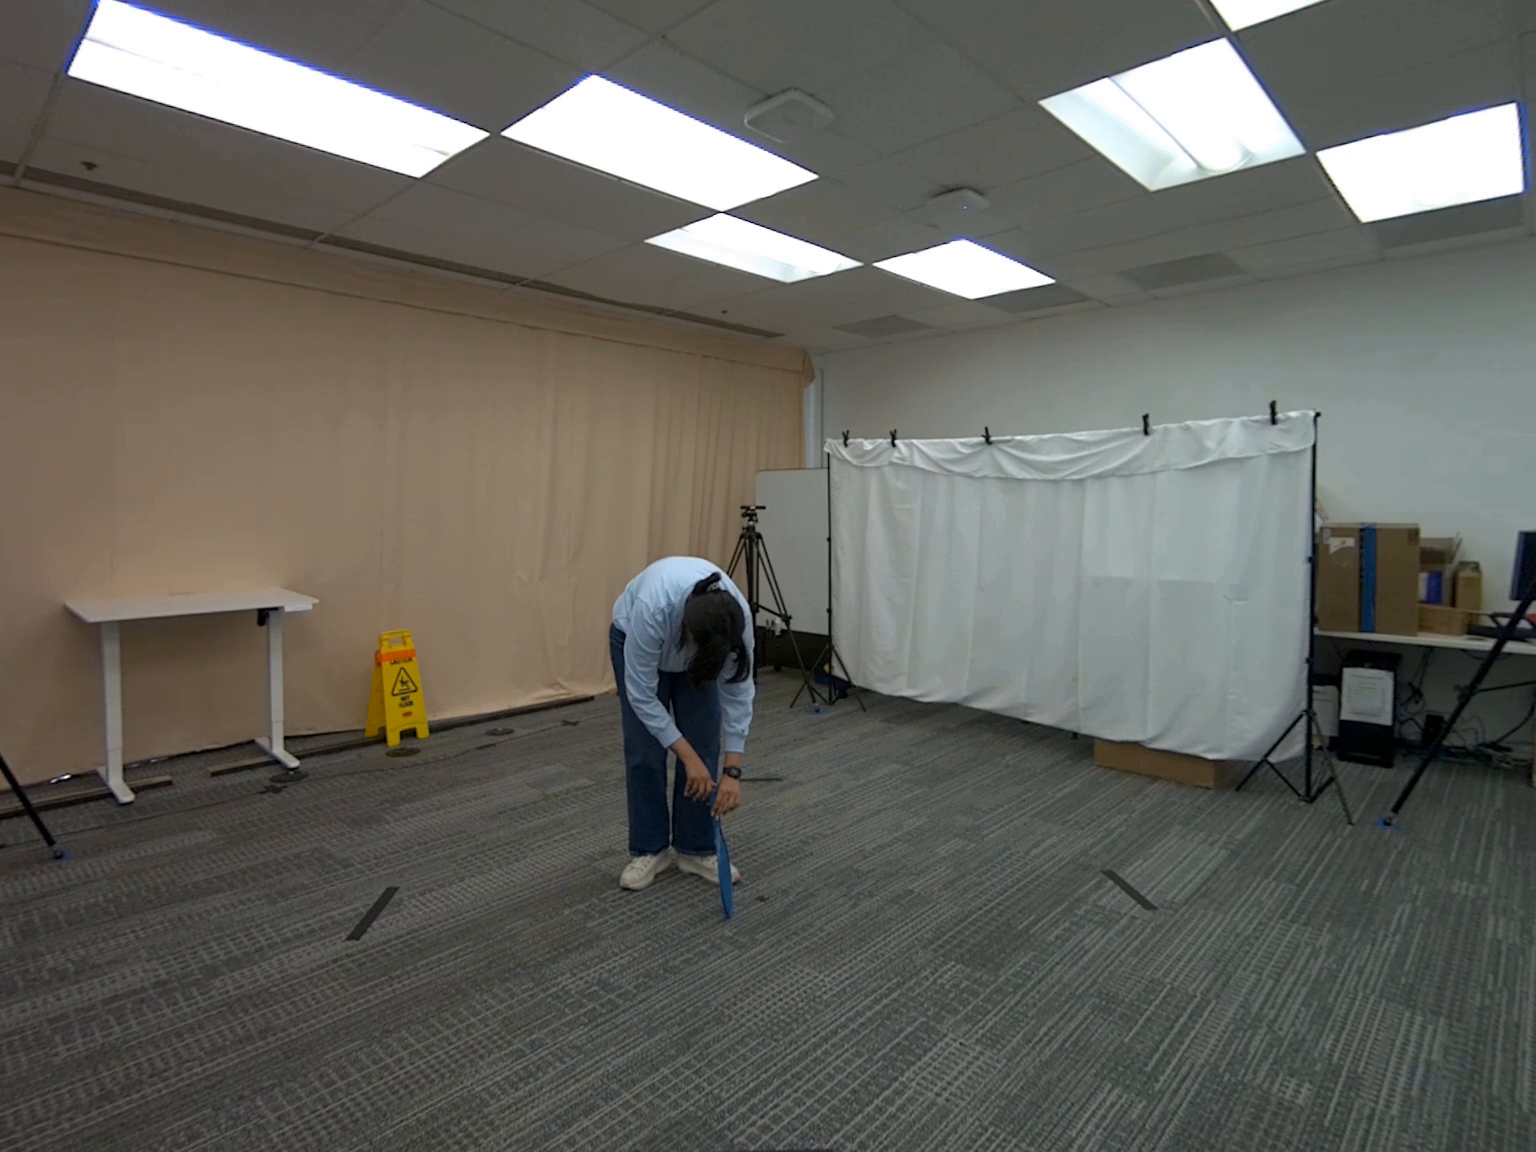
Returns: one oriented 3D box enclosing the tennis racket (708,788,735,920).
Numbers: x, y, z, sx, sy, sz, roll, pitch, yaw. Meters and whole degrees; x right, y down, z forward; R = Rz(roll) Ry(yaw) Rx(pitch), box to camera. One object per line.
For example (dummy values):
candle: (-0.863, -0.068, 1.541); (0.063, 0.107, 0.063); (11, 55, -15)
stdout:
tennis racket: (-0.153, 0.946, 2.866); (0.032, 0.432, 0.213); (-8, 3, 3)
